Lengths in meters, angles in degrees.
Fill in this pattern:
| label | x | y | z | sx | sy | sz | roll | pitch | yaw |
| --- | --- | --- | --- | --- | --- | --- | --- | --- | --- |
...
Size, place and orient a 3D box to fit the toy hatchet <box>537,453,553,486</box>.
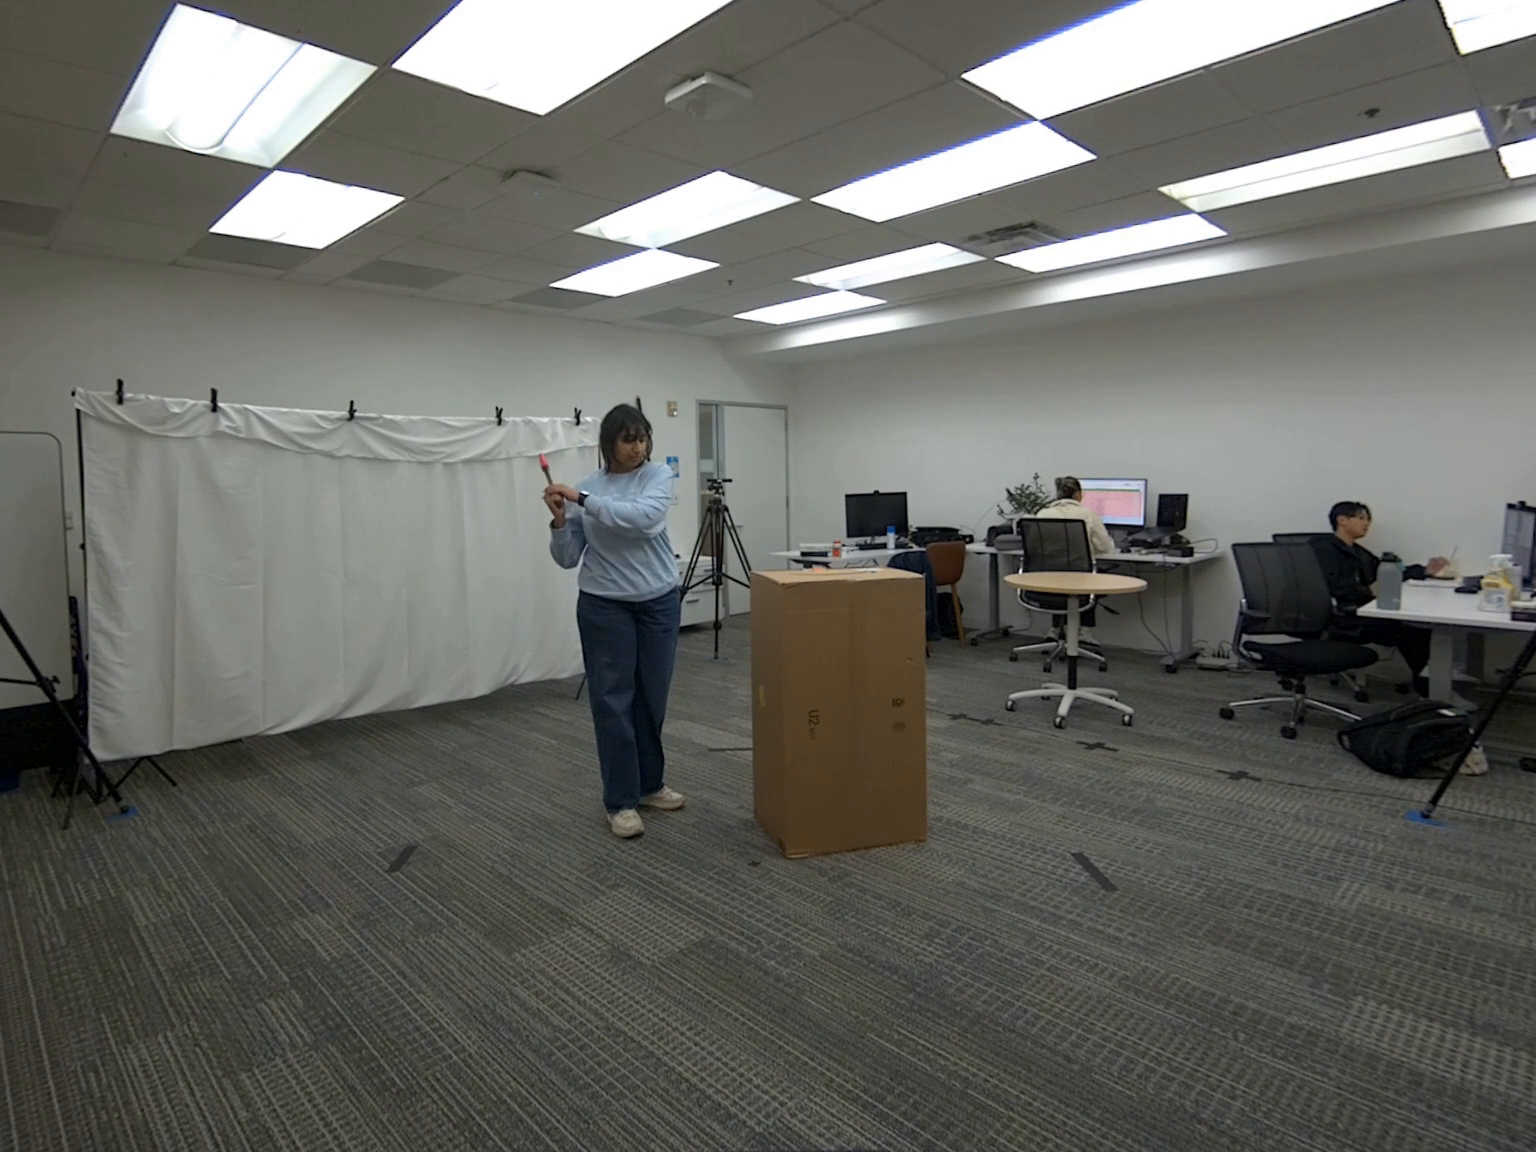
| label | x | y | z | sx | sy | sz | roll | pitch | yaw |
| --- | --- | --- | --- | --- | --- | --- | --- | --- | --- |
| toy hatchet | -0.839 | -0.376 | 3.330 | 0.029 | 0.127 | 0.281 | -20 | 43 | -14 |
